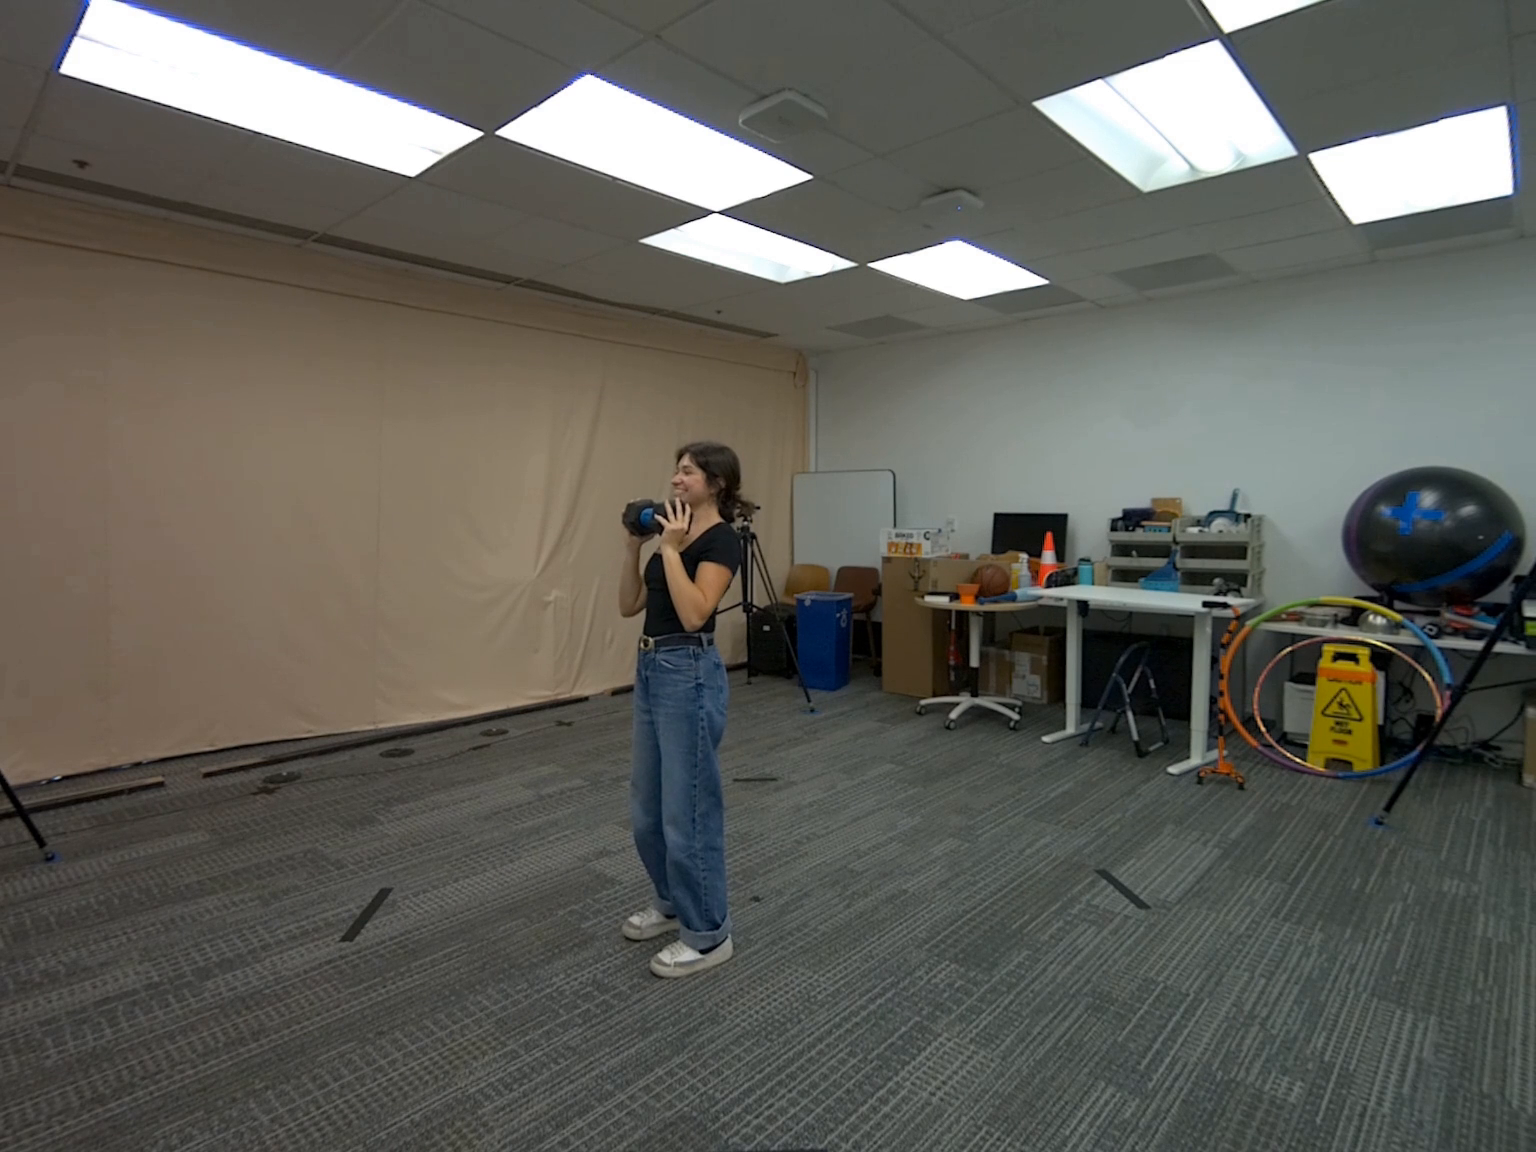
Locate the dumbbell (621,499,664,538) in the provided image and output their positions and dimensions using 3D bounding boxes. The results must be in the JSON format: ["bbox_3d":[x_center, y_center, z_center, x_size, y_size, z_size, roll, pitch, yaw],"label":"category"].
[{"bbox_3d":[-0.341,-0.188,2.594,0.108,0.120,0.302,-46,24,-17],"label":"dumbbell"}]
